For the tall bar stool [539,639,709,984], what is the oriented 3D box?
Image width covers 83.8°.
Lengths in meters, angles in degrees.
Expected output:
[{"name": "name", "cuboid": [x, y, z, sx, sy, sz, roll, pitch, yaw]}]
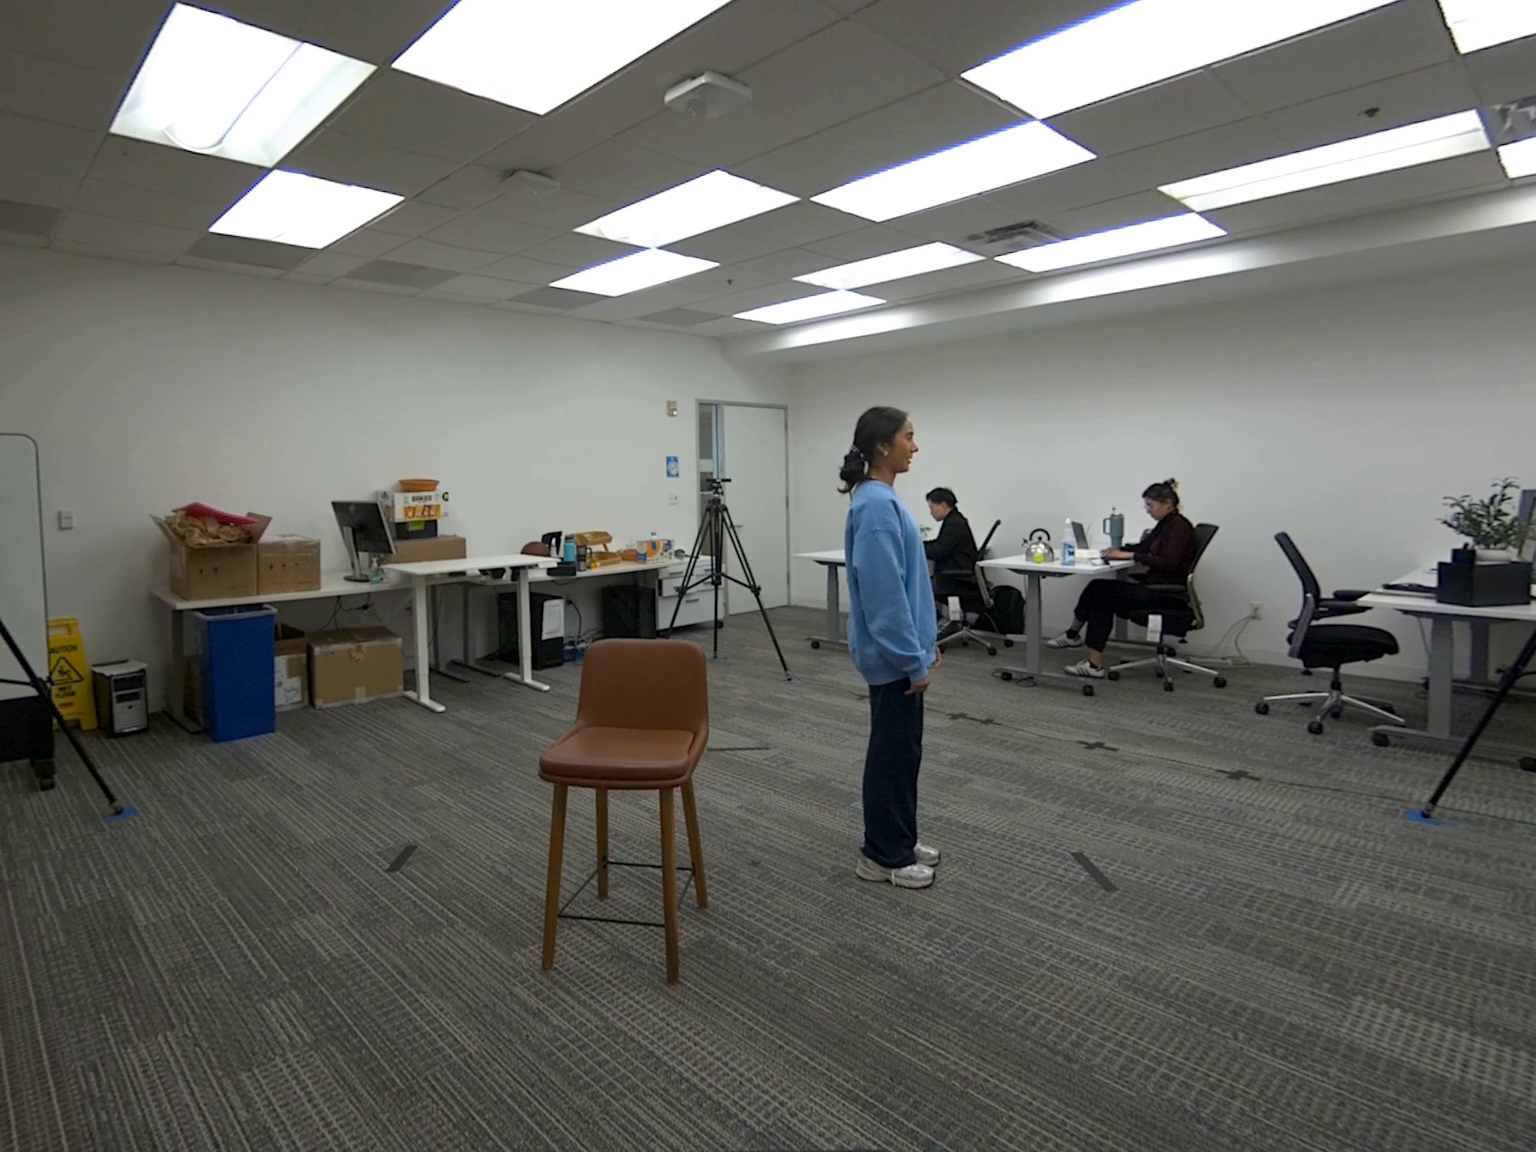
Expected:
[{"name": "tall bar stool", "cuboid": [-0.420, 0.678, 2.606, 0.462, 0.887, 0.463, 0, 3, 12]}]
